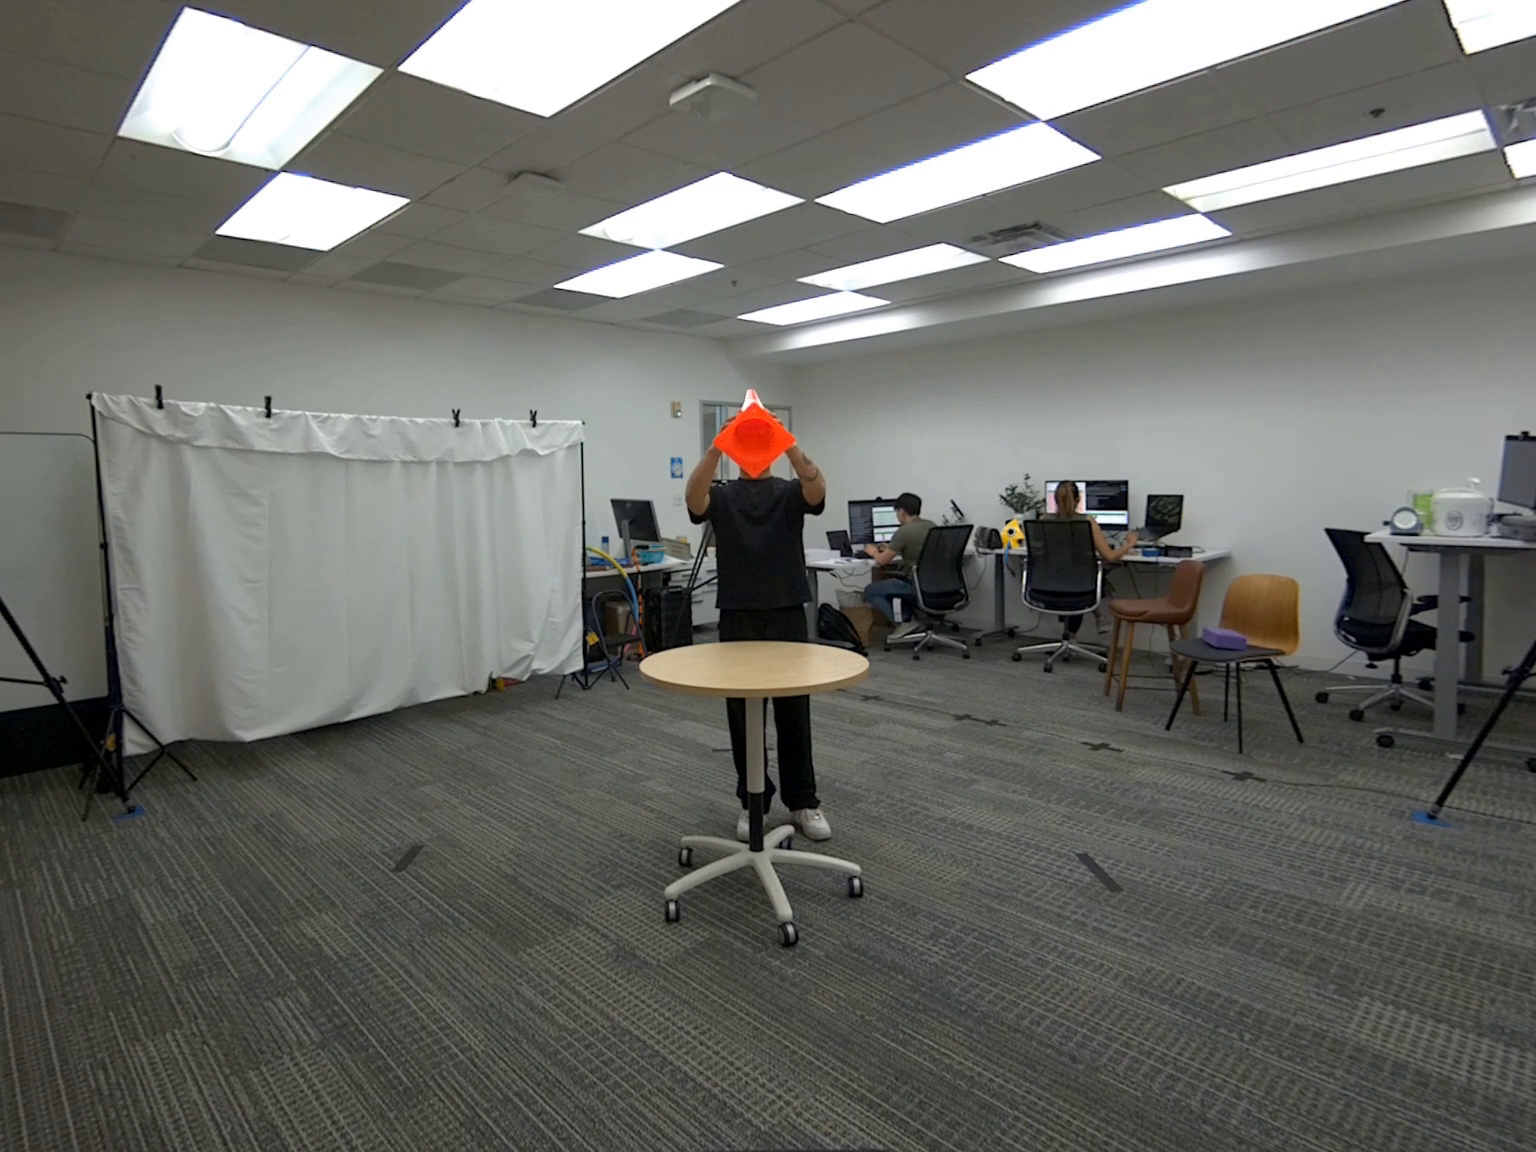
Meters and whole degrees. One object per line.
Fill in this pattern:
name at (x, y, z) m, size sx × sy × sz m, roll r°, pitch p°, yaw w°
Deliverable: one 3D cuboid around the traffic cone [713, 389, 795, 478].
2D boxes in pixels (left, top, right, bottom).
traffic cone at (-0.057, -0.536, 2.944) m, size 0.204 × 0.199 × 0.393 m, roll -37°, pitch 28°, yaw 22°
